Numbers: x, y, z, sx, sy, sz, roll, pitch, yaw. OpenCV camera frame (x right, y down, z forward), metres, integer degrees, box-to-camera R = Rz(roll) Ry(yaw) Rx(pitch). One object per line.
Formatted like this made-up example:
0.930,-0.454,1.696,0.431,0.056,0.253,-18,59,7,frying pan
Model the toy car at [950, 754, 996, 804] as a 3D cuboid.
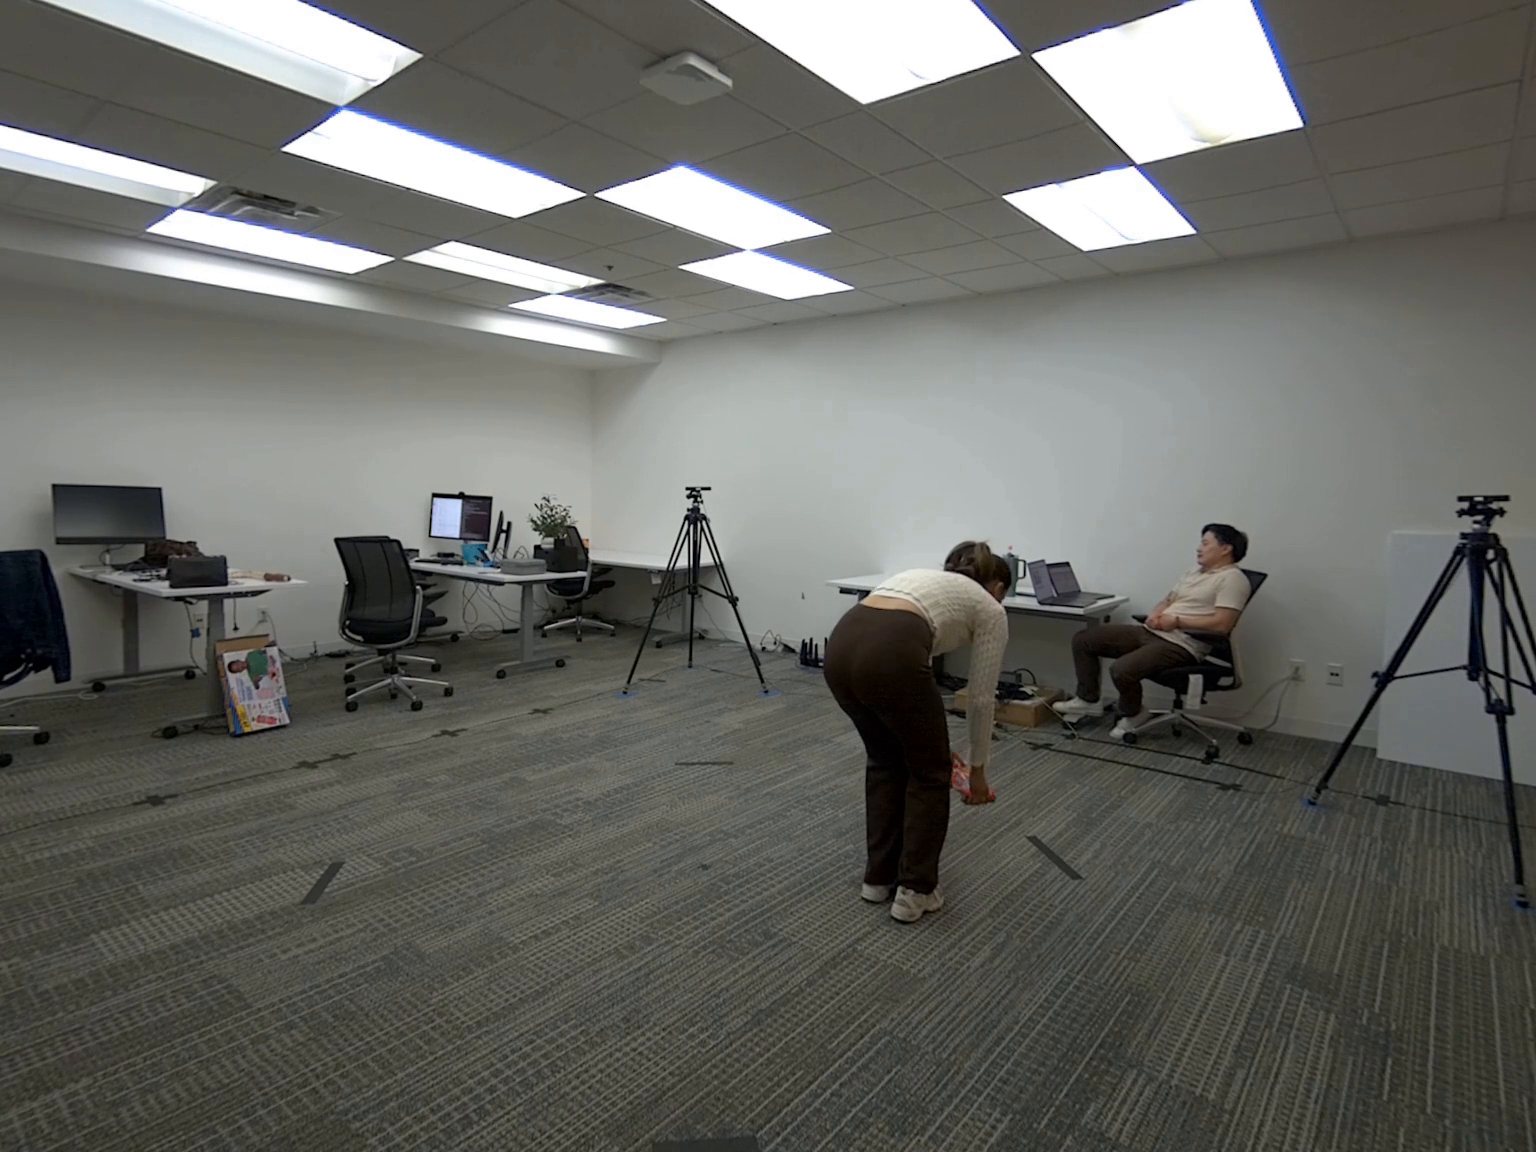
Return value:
0.734,0.761,3.151,0.129,0.082,0.261,-3,21,-9,toy car
